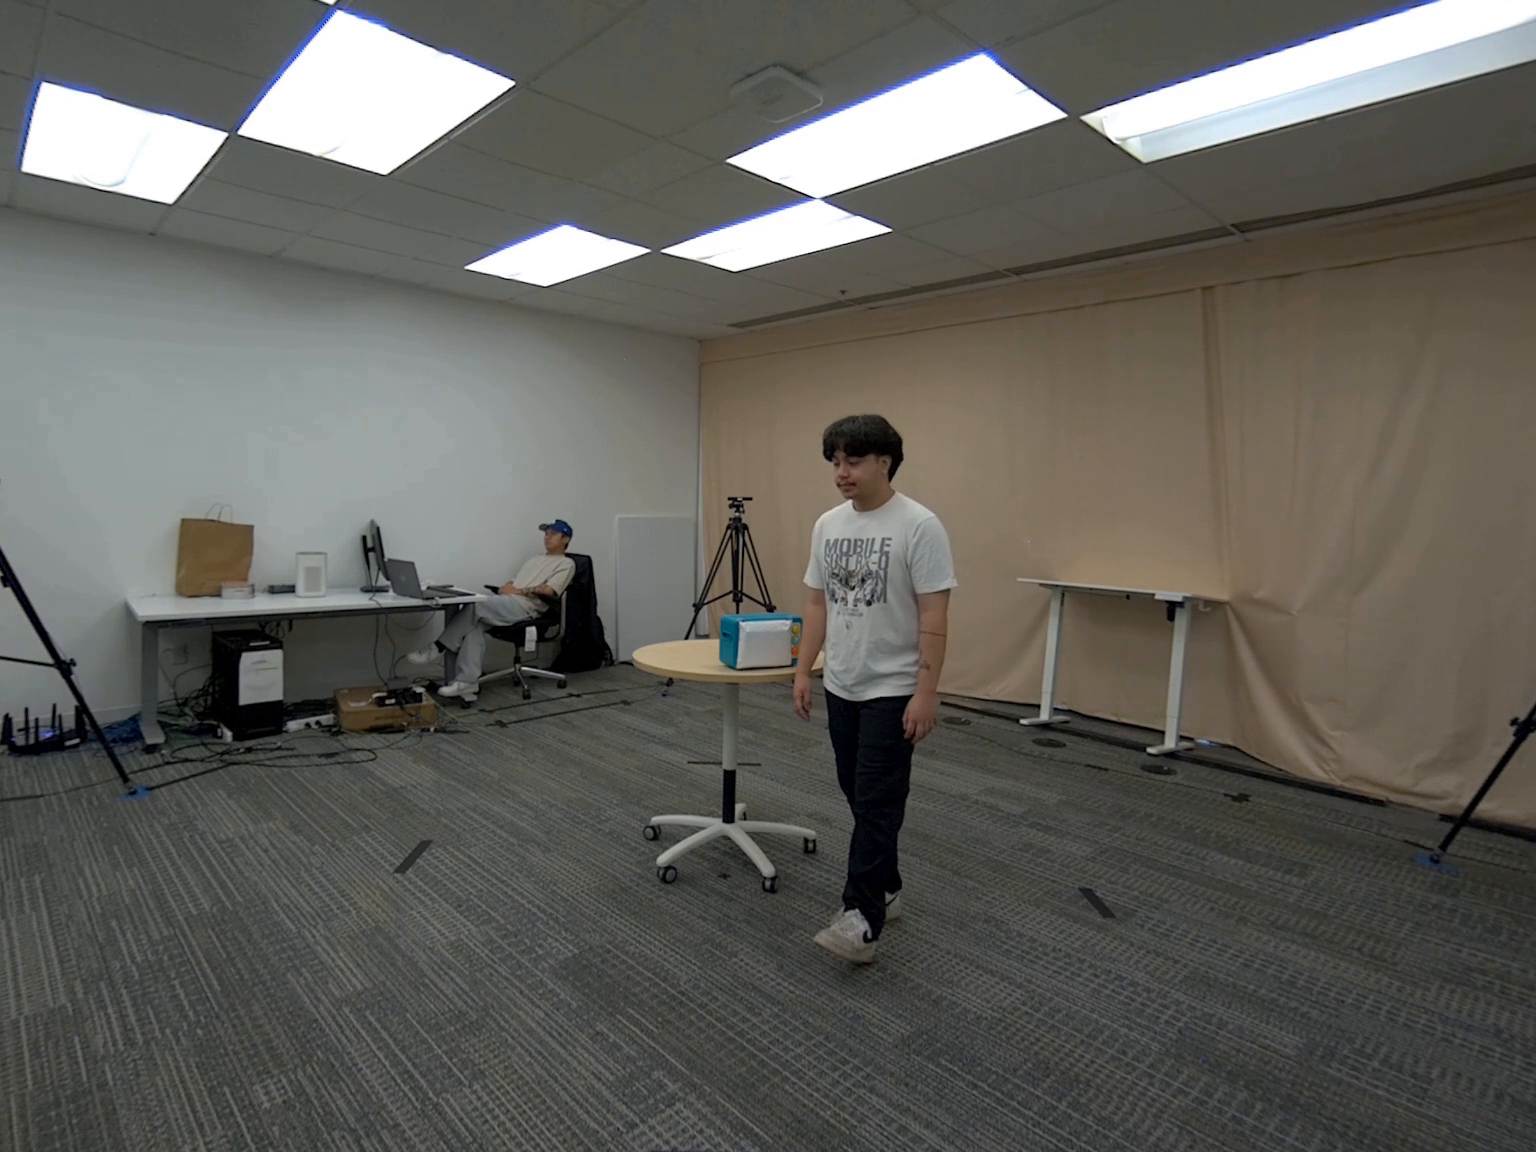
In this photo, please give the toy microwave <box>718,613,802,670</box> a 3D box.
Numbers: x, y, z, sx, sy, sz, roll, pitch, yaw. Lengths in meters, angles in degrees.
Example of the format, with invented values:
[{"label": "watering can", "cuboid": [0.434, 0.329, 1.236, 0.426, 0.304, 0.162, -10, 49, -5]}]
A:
[{"label": "toy microwave", "cuboid": [-0.026, 0.232, 3.015, 0.281, 0.183, 0.155, -1, 5, -26]}]
